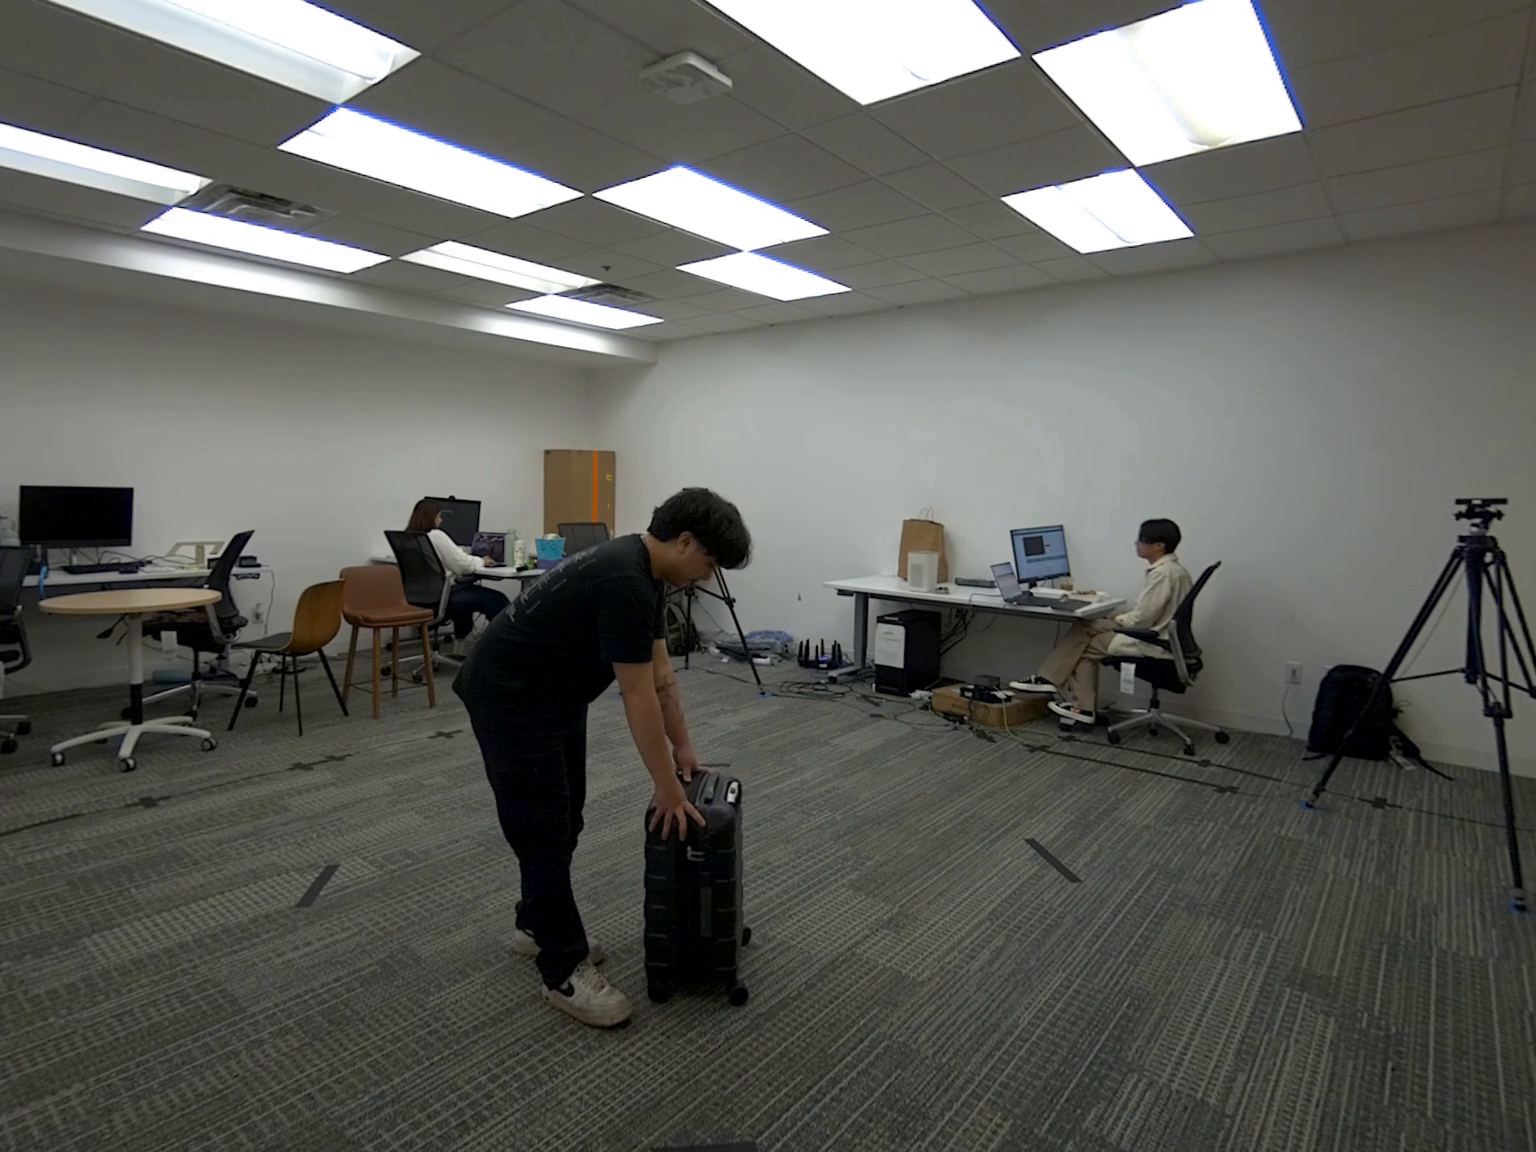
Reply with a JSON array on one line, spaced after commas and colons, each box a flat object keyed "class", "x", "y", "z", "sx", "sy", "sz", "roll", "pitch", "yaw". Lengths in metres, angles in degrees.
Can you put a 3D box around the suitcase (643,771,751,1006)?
[{"class": "suitcase", "x": -0.210, "y": 0.863, "z": 2.433, "sx": 0.249, "sy": 0.547, "sz": 0.375, "roll": -1, "pitch": 4, "yaw": 3}]
